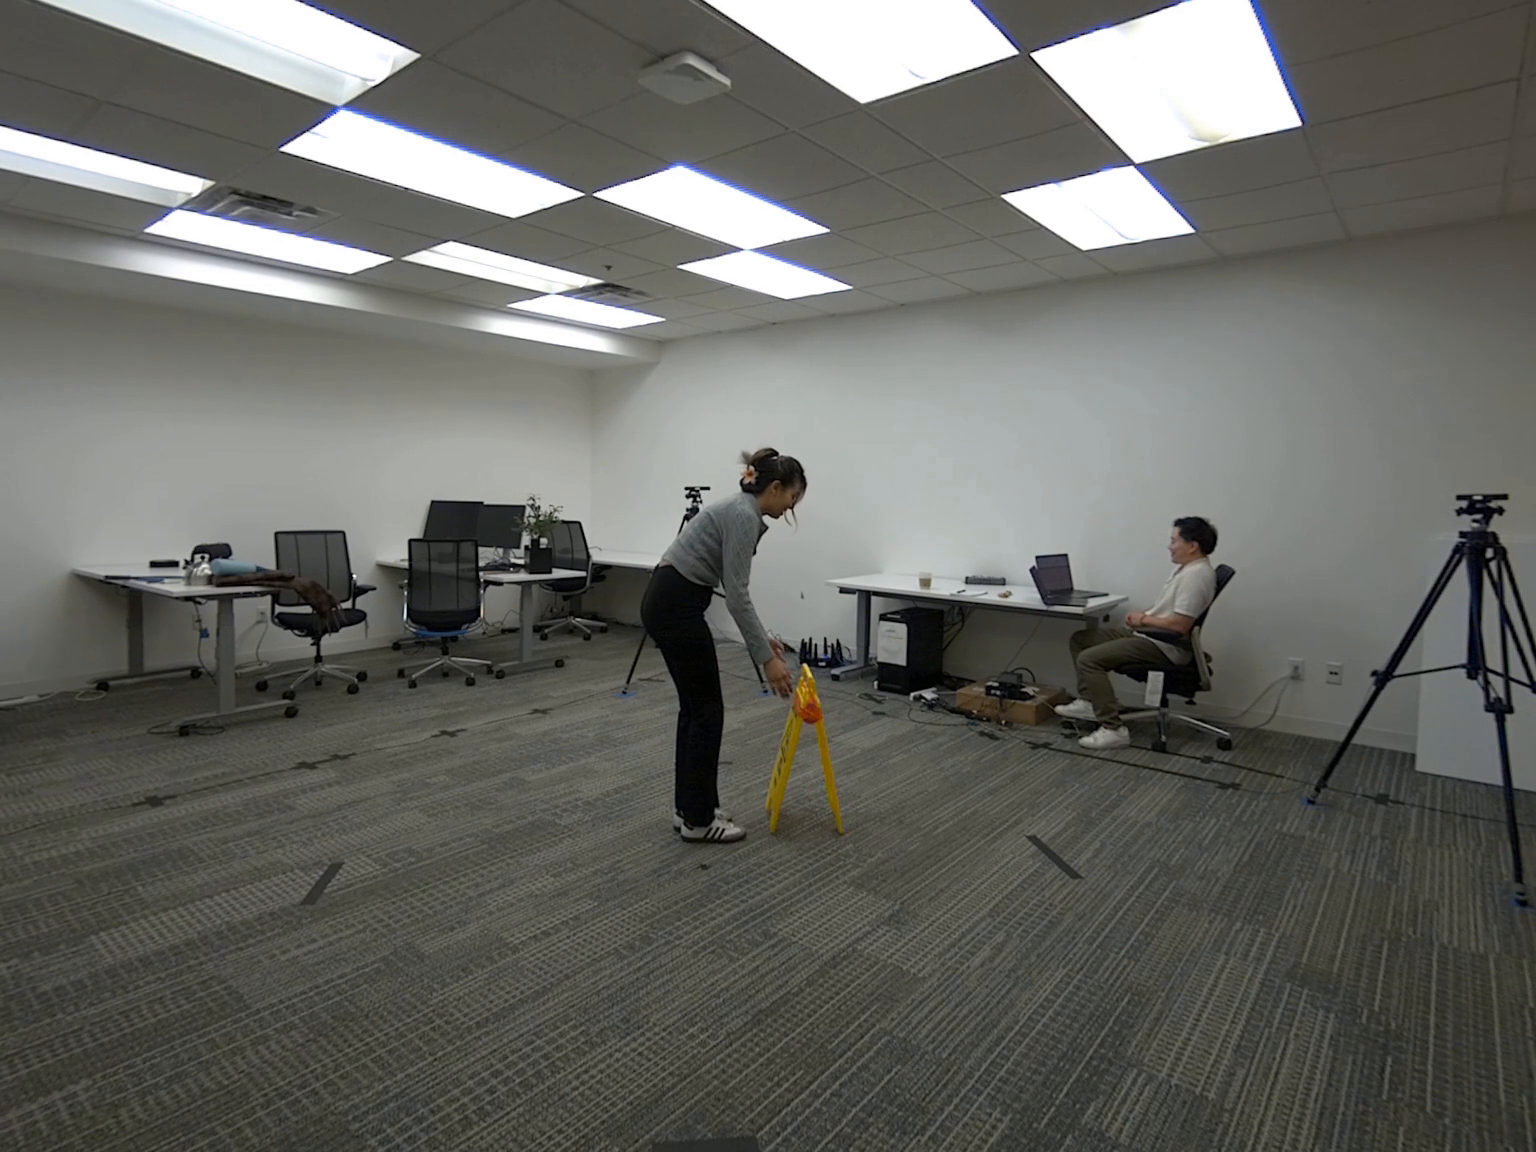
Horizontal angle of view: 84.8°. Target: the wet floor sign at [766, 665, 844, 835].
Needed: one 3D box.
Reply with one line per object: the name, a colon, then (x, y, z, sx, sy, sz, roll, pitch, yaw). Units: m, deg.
wet floor sign: (0.148, 0.697, 3.528, 0.289, 0.641, 0.285, 2, 8, -3)
